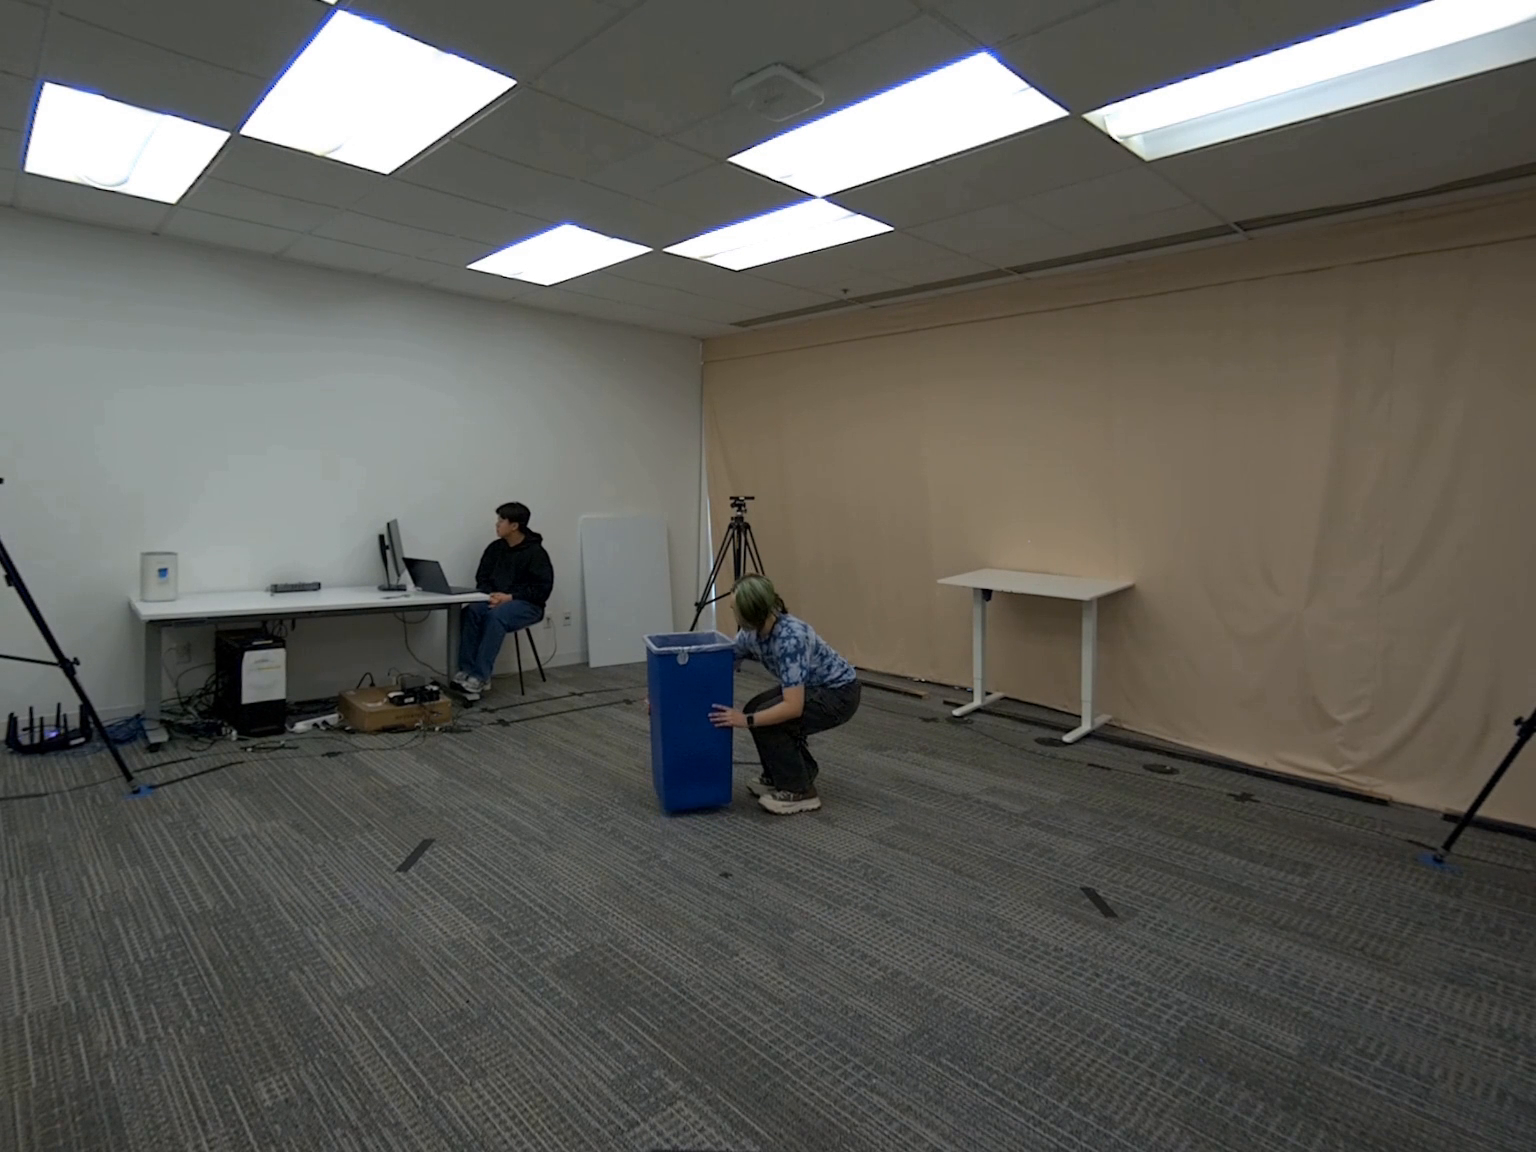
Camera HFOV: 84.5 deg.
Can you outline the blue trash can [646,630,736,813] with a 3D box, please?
[{"bbox_3d":[-0.363,0.631,3.791,0.373,0.711,0.380,-2,5,-17],"label":"blue trash can"}]
